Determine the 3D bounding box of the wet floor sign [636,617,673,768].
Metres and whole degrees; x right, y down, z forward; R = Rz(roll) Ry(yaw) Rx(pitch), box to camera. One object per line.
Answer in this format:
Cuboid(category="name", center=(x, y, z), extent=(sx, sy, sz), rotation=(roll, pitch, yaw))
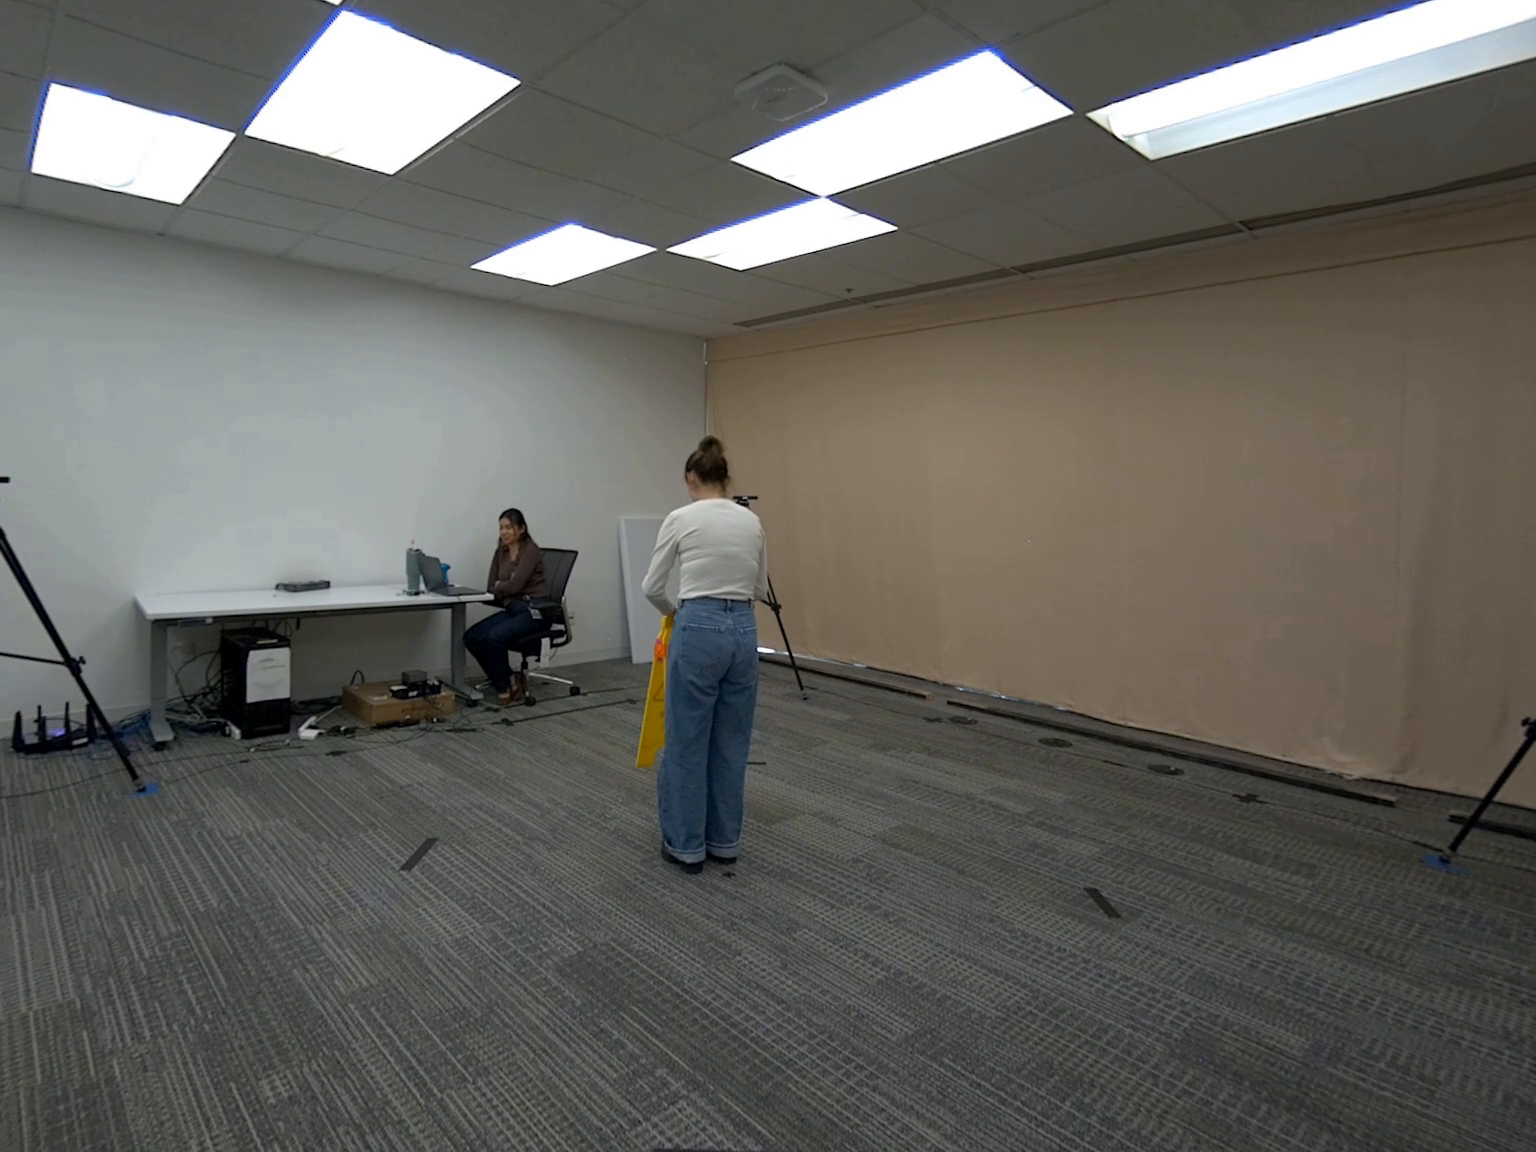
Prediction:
Cuboid(category="wet floor sign", center=(-0.357, 0.482, 3.468), extent=(0.276, 0.646, 0.296), rotation=(1, 1, -35))
